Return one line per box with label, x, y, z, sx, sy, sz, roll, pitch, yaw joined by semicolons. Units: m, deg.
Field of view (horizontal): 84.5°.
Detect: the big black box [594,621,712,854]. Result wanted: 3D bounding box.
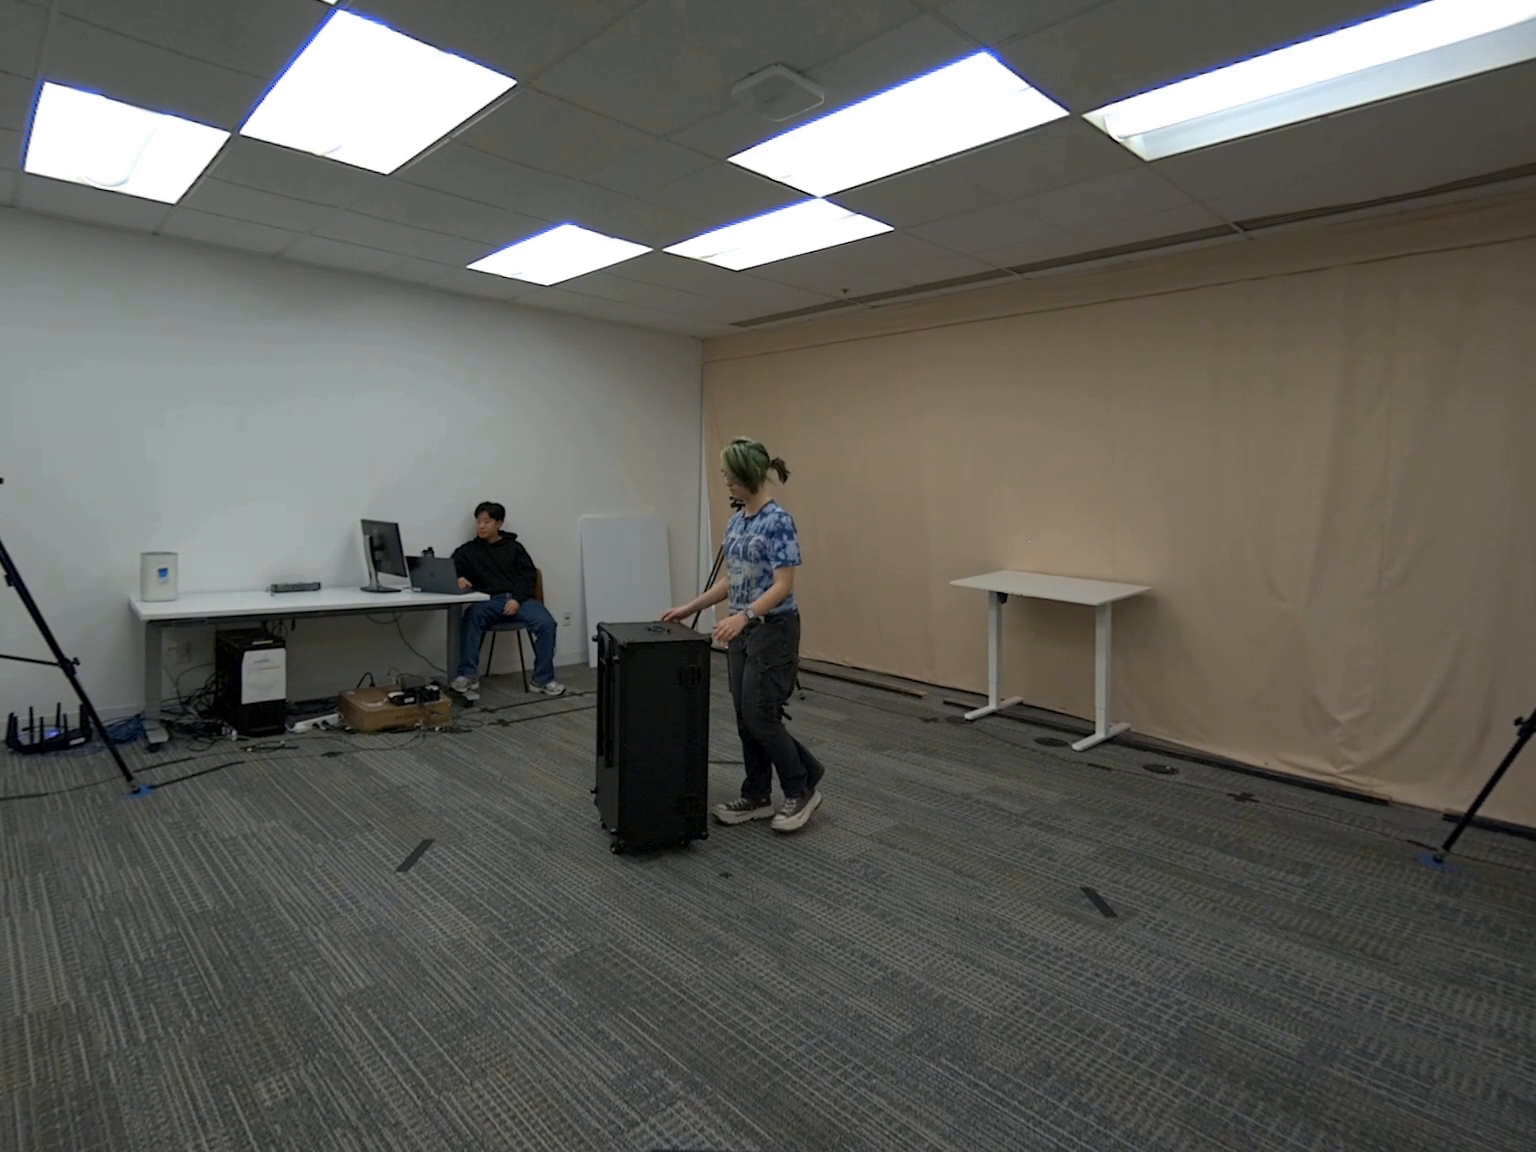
big black box;-0.498;0.588;3.396;0.390;0.859;0.531;0;4;-22
